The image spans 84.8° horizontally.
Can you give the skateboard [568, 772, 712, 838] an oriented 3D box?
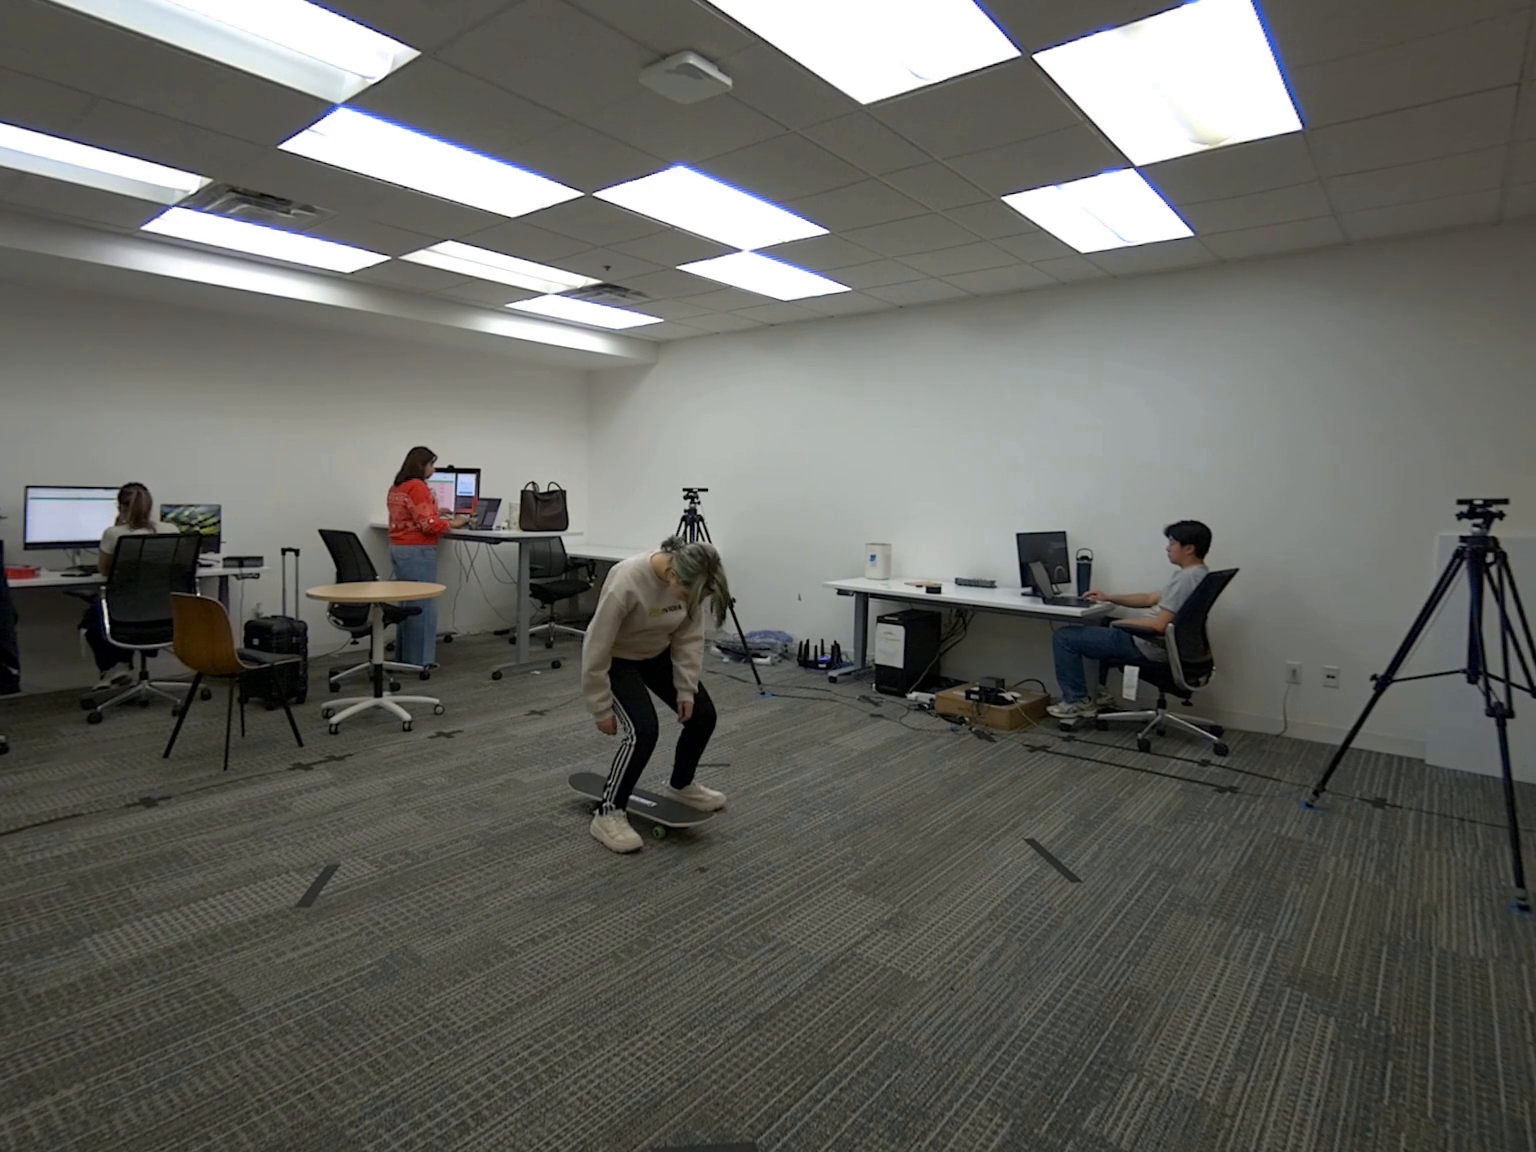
[{"bbox_3d":[-0.558,0.960,3.556,0.812,0.110,0.188,5,8,38],"label":"skateboard"}]
